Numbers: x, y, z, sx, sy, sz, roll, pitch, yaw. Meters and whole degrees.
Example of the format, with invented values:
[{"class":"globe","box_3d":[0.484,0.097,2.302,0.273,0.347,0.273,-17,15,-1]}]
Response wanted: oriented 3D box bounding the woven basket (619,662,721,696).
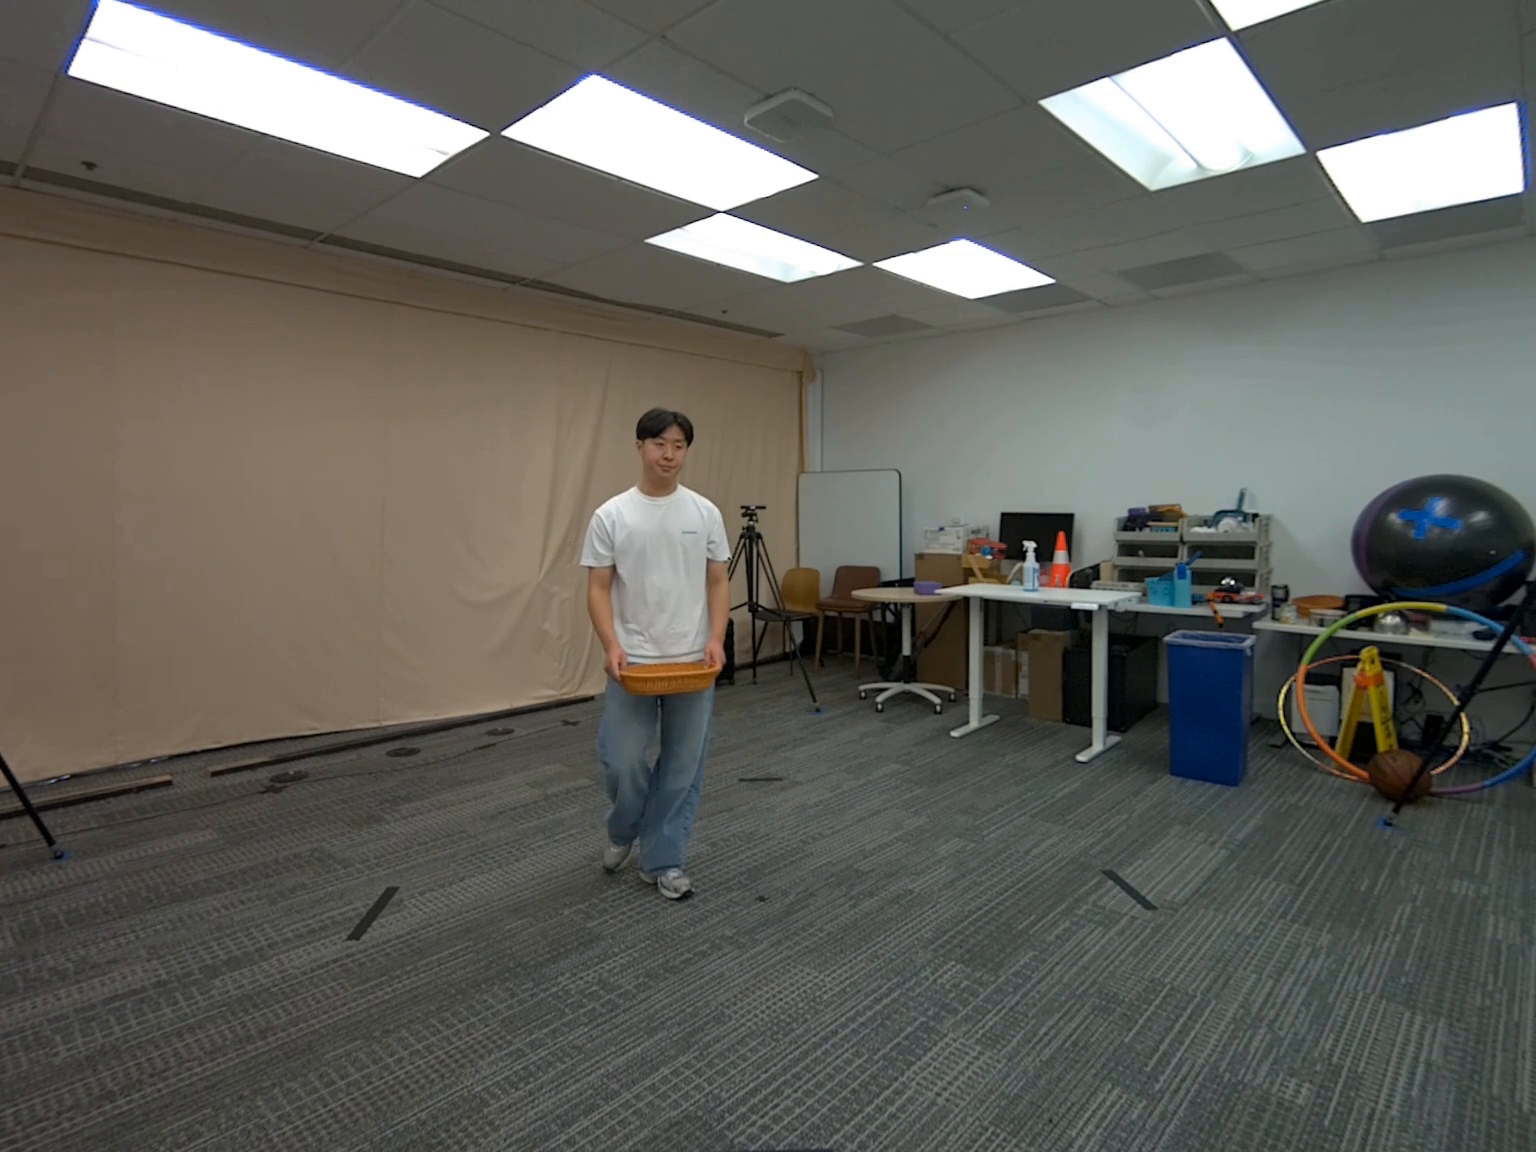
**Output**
[{"class":"woven basket","box_3d":[-0.350,0.346,2.822,0.344,0.073,0.257,-2,3,-17]}]
